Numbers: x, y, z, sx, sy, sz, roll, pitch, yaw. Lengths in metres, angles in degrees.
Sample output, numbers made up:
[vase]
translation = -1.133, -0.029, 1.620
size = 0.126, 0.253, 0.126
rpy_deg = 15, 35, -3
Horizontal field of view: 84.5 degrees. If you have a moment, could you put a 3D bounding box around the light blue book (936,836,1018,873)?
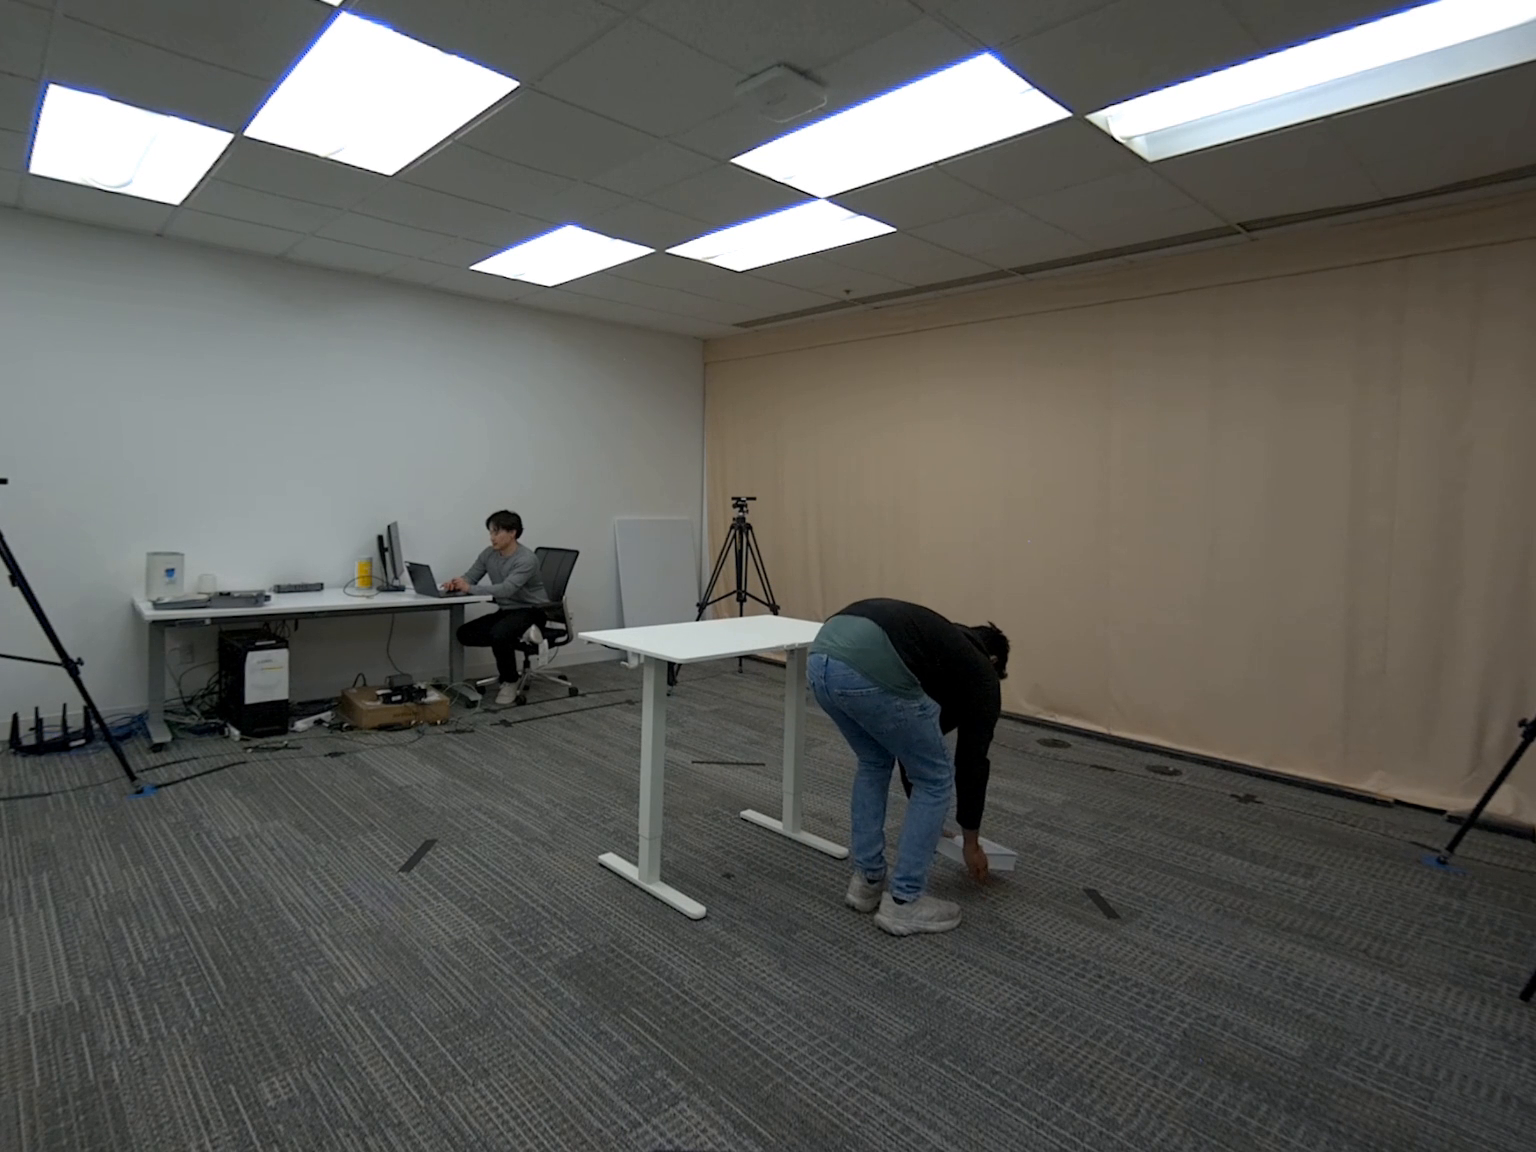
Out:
[light blue book]
translation = 0.757, 1.005, 3.107
size = 0.254, 0.059, 0.196
rpy_deg = 13, -2, -32
